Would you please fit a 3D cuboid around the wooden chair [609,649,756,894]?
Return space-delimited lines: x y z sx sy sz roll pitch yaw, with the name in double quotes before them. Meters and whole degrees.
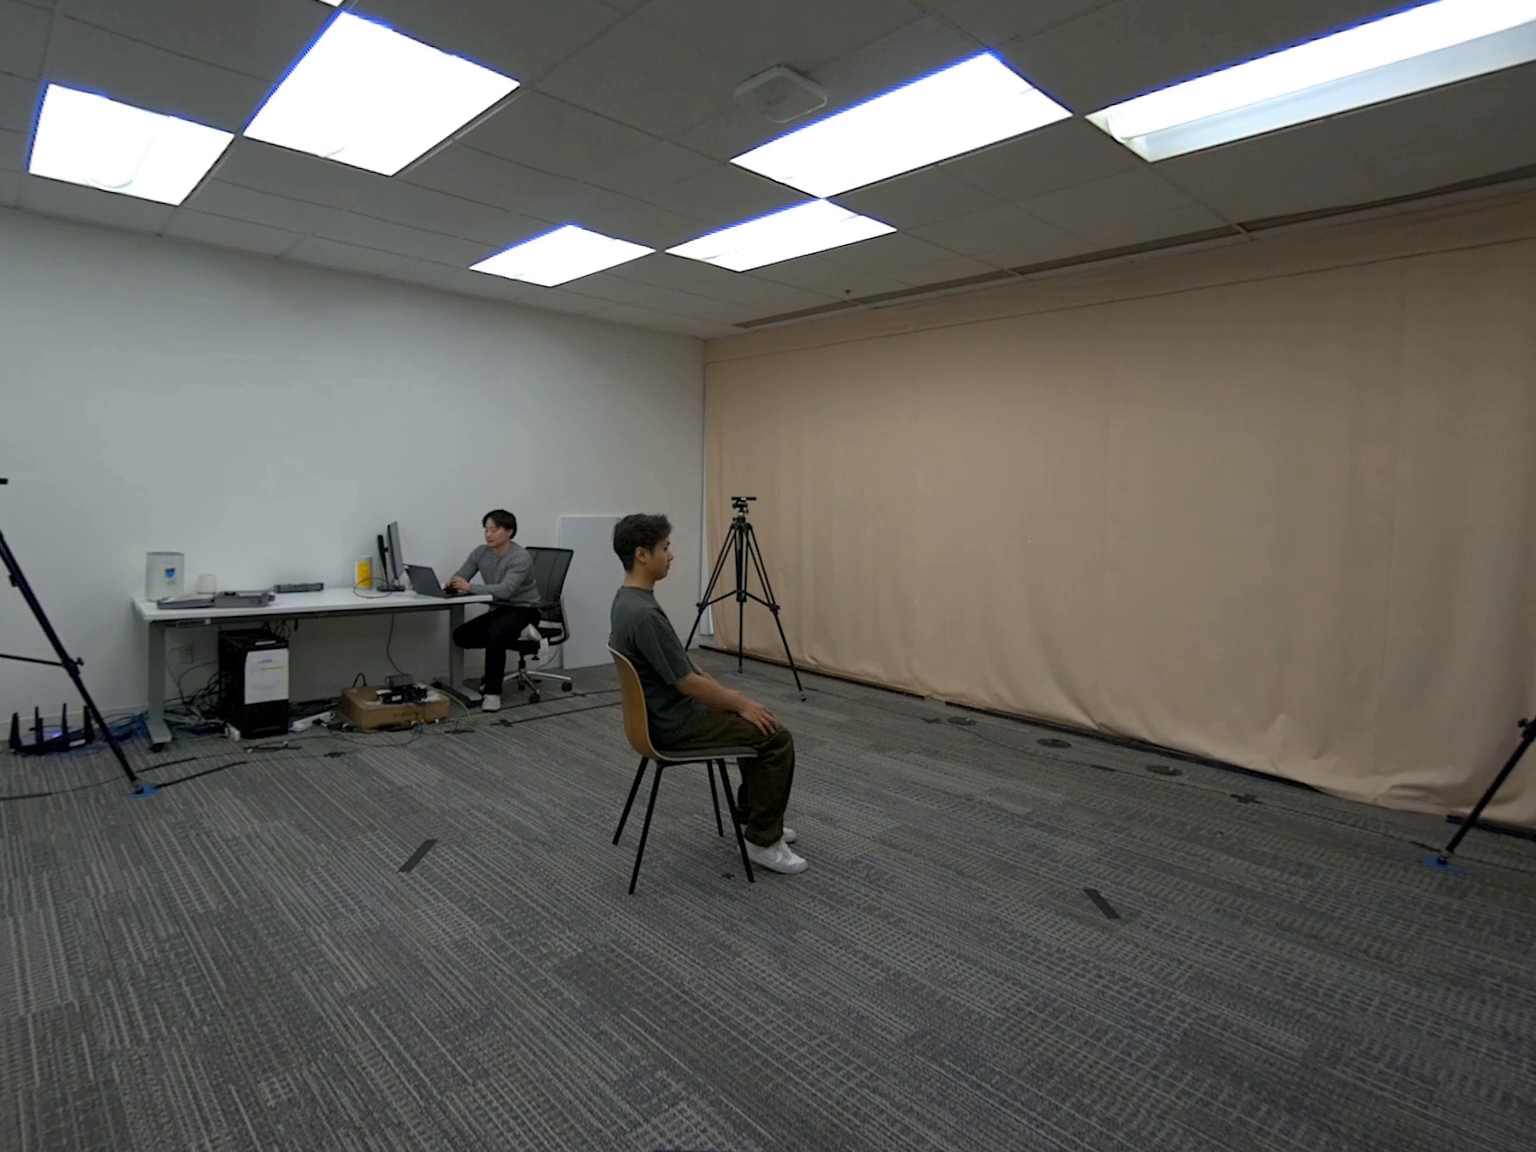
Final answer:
"wooden chair" -0.329 0.660 3.181 0.517 0.875 0.485 -4 4 -16
